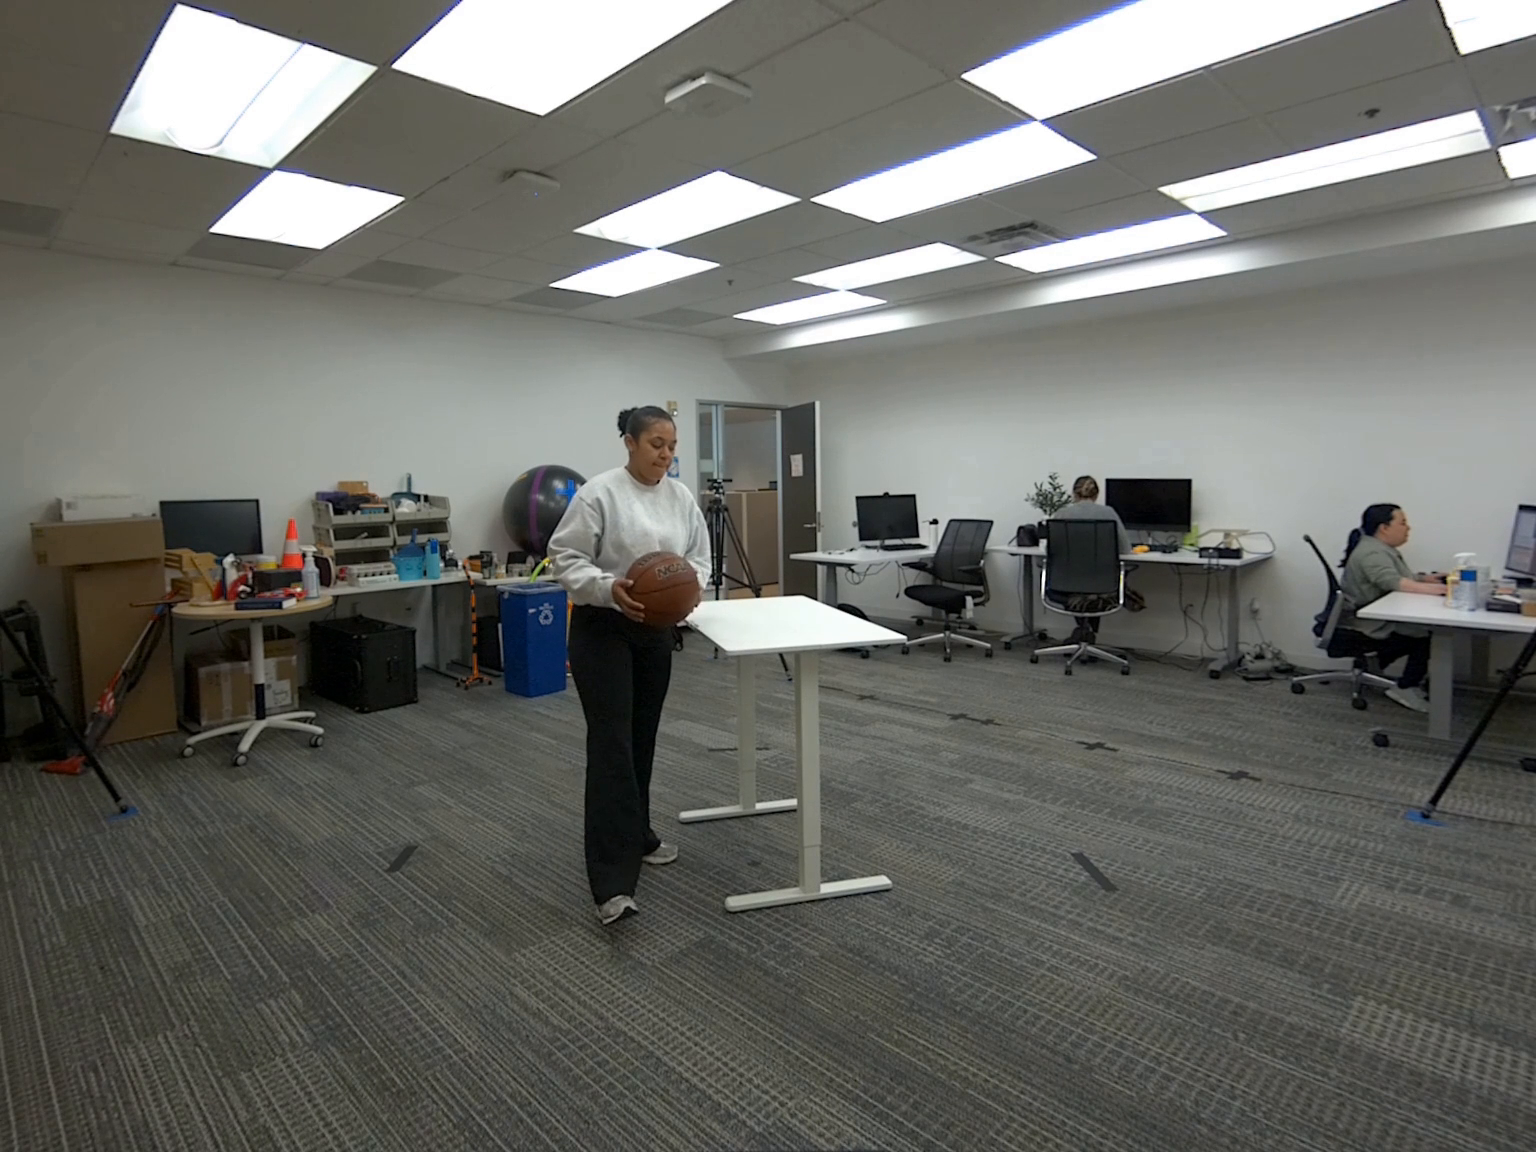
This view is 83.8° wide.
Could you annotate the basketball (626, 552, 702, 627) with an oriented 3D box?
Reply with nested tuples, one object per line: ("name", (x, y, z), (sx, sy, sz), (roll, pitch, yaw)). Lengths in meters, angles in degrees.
("basketball", (-0.330, 0.042, 2.684), (0.236, 0.235, 0.237), (-1, 5, -2))
